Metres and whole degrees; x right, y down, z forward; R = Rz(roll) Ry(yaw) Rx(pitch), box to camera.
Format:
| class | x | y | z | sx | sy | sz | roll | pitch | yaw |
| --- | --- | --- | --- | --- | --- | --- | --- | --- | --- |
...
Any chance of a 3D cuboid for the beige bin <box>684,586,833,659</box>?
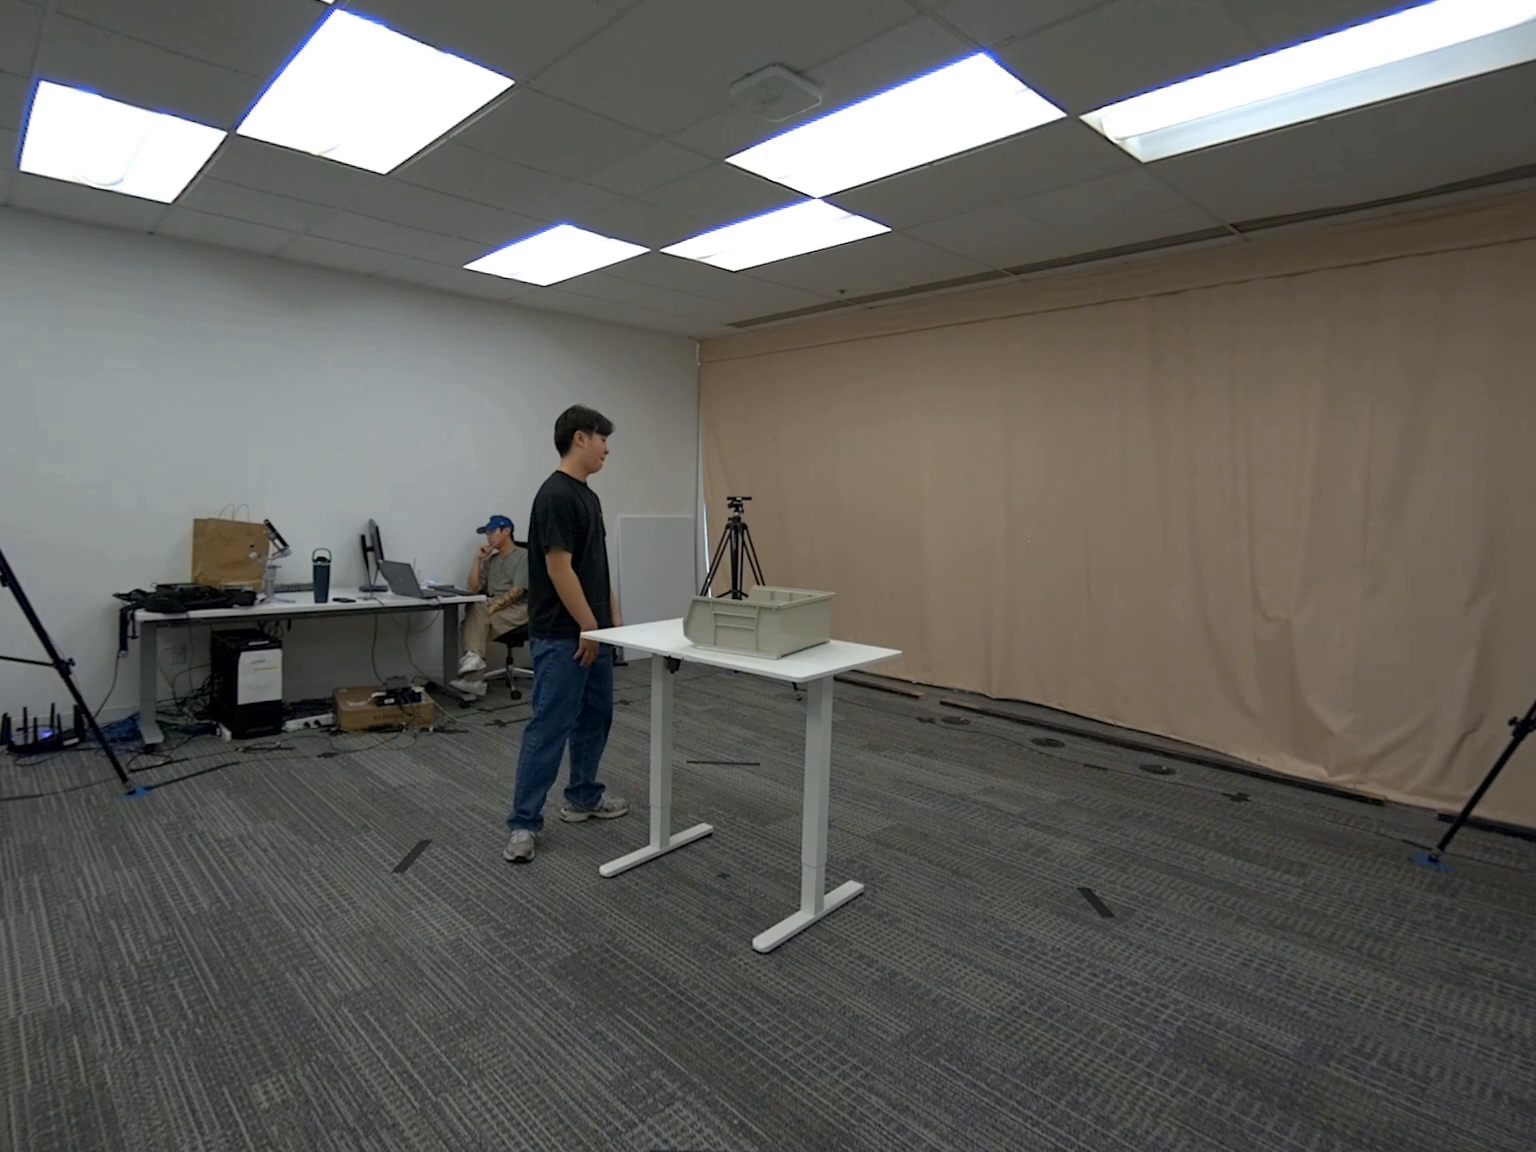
| class | x | y | z | sx | sy | sz | roll | pitch | yaw |
| --- | --- | --- | --- | --- | --- | --- | --- | --- | --- |
| beige bin | -0.027 | 0.158 | 2.933 | 0.386 | 0.188 | 0.414 | 6 | 6 | 30 |
